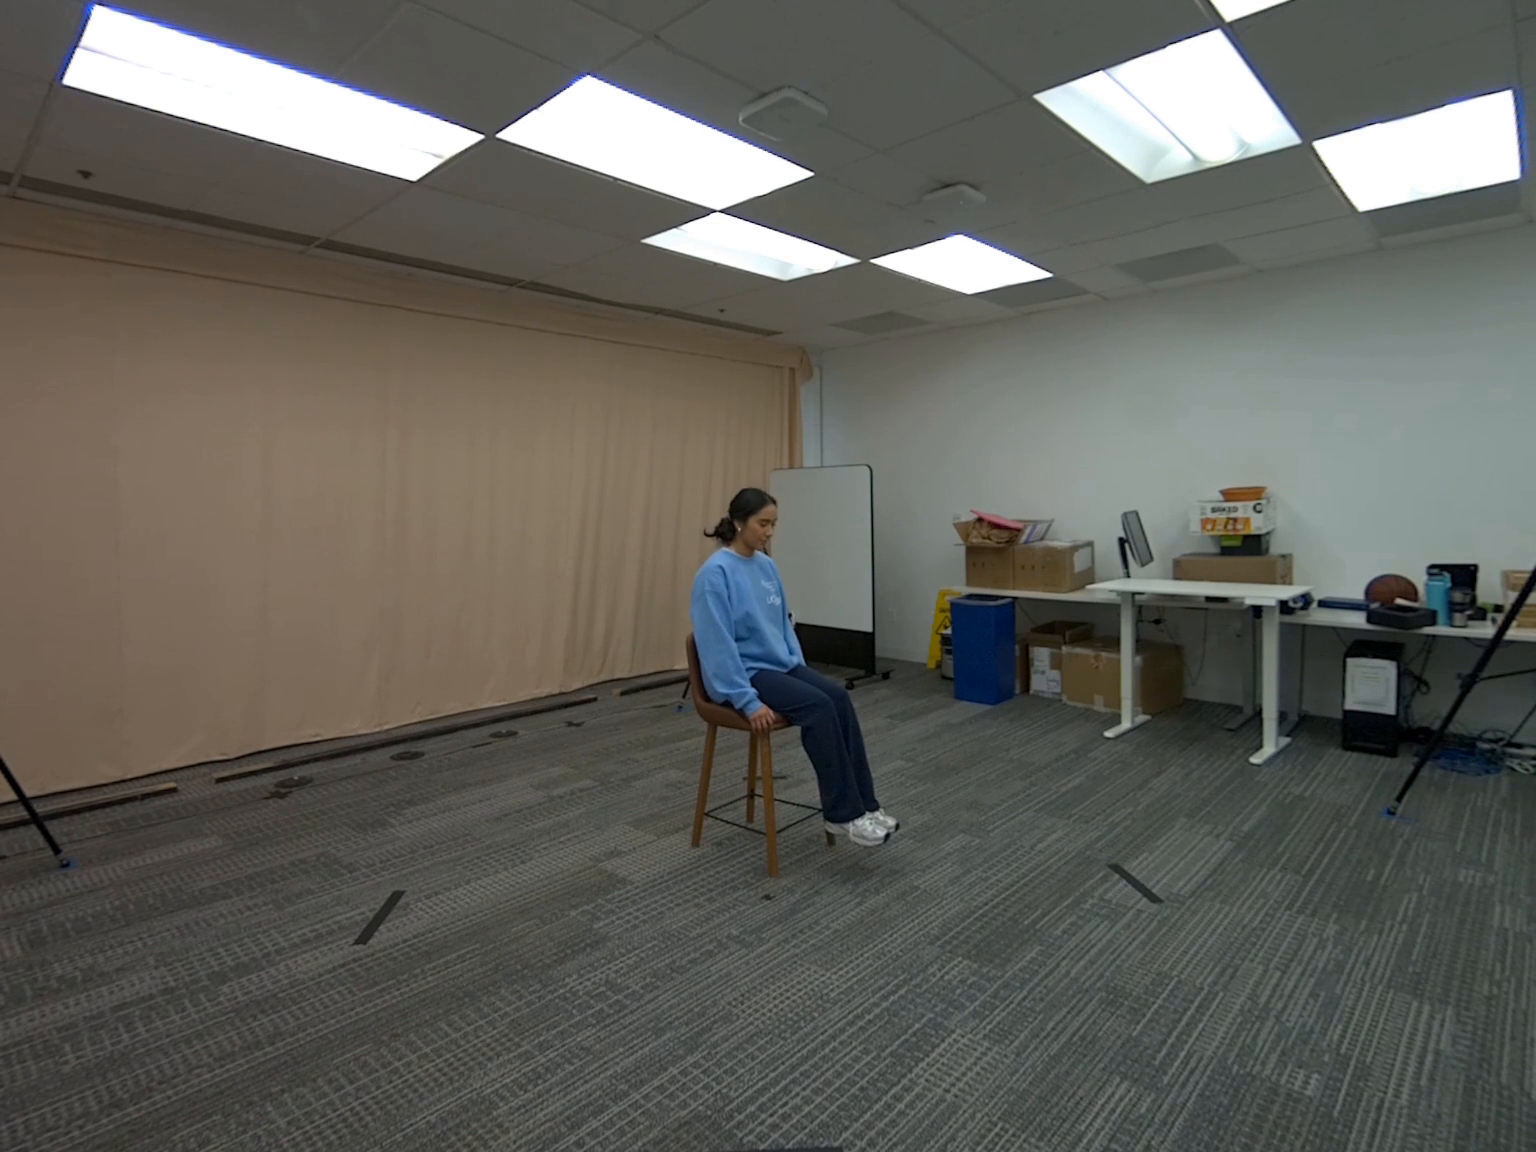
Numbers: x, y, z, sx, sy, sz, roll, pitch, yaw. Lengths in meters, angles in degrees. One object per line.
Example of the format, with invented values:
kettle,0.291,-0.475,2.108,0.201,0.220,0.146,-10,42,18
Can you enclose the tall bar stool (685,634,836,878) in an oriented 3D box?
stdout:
tall bar stool,-0.037,0.668,3.427,0.482,0.889,0.442,-1,1,41
